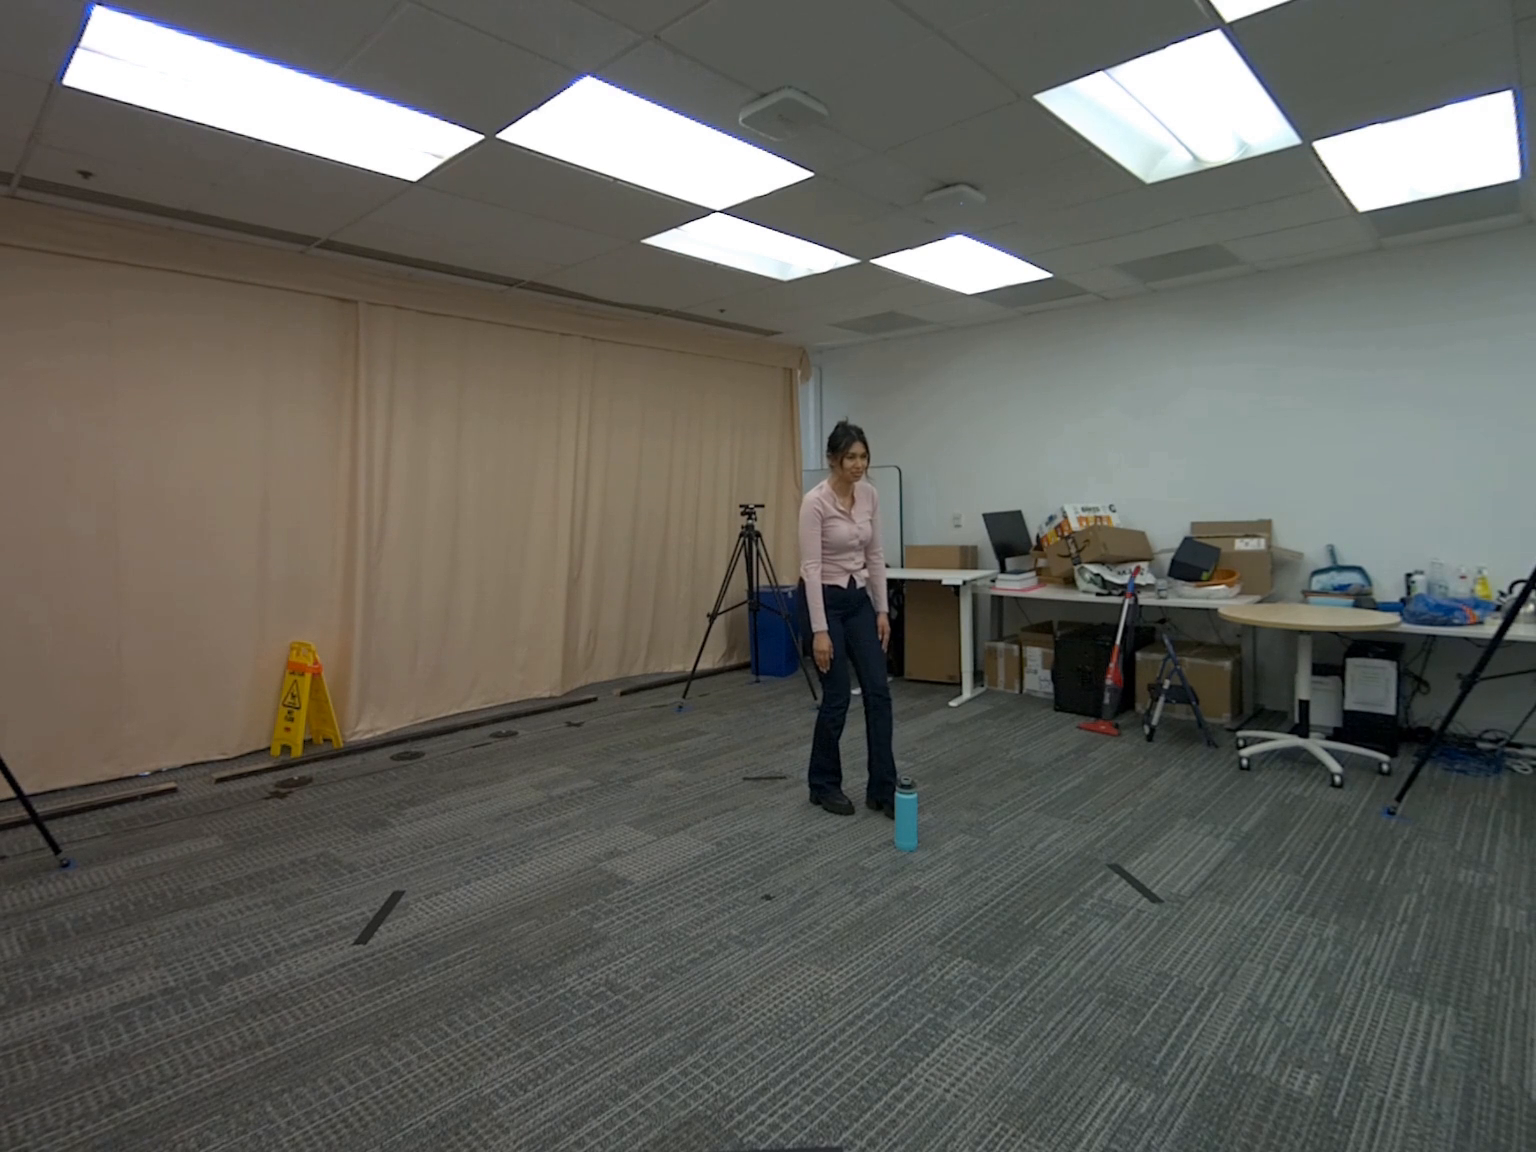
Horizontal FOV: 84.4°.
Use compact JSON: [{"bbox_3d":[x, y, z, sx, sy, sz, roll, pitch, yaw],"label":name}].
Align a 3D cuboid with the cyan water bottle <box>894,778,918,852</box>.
[{"bbox_3d":[0.557,0.949,3.400,0.092,0.283,0.092,0,1,-2],"label":"cyan water bottle"}]
